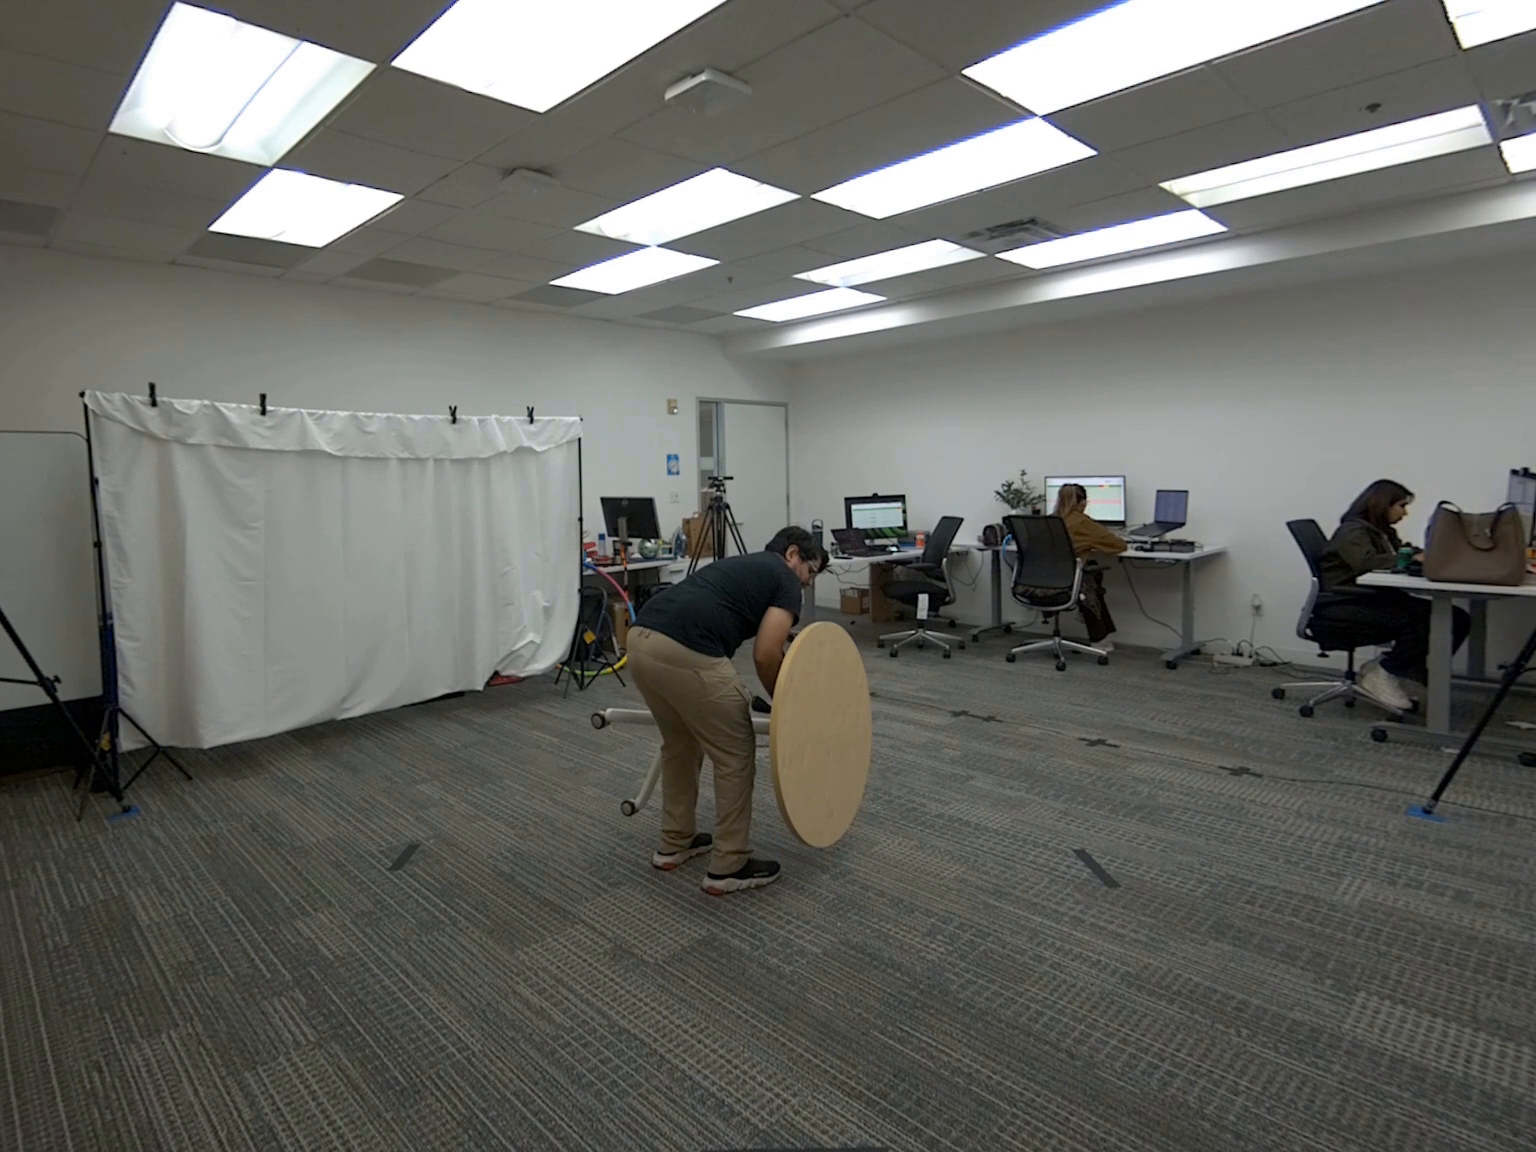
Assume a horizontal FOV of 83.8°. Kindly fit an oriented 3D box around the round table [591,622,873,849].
[{"bbox_3d":[-0.129,0.553,3.207,0.806,0.783,0.768,-2,4,31],"label":"round table"}]
